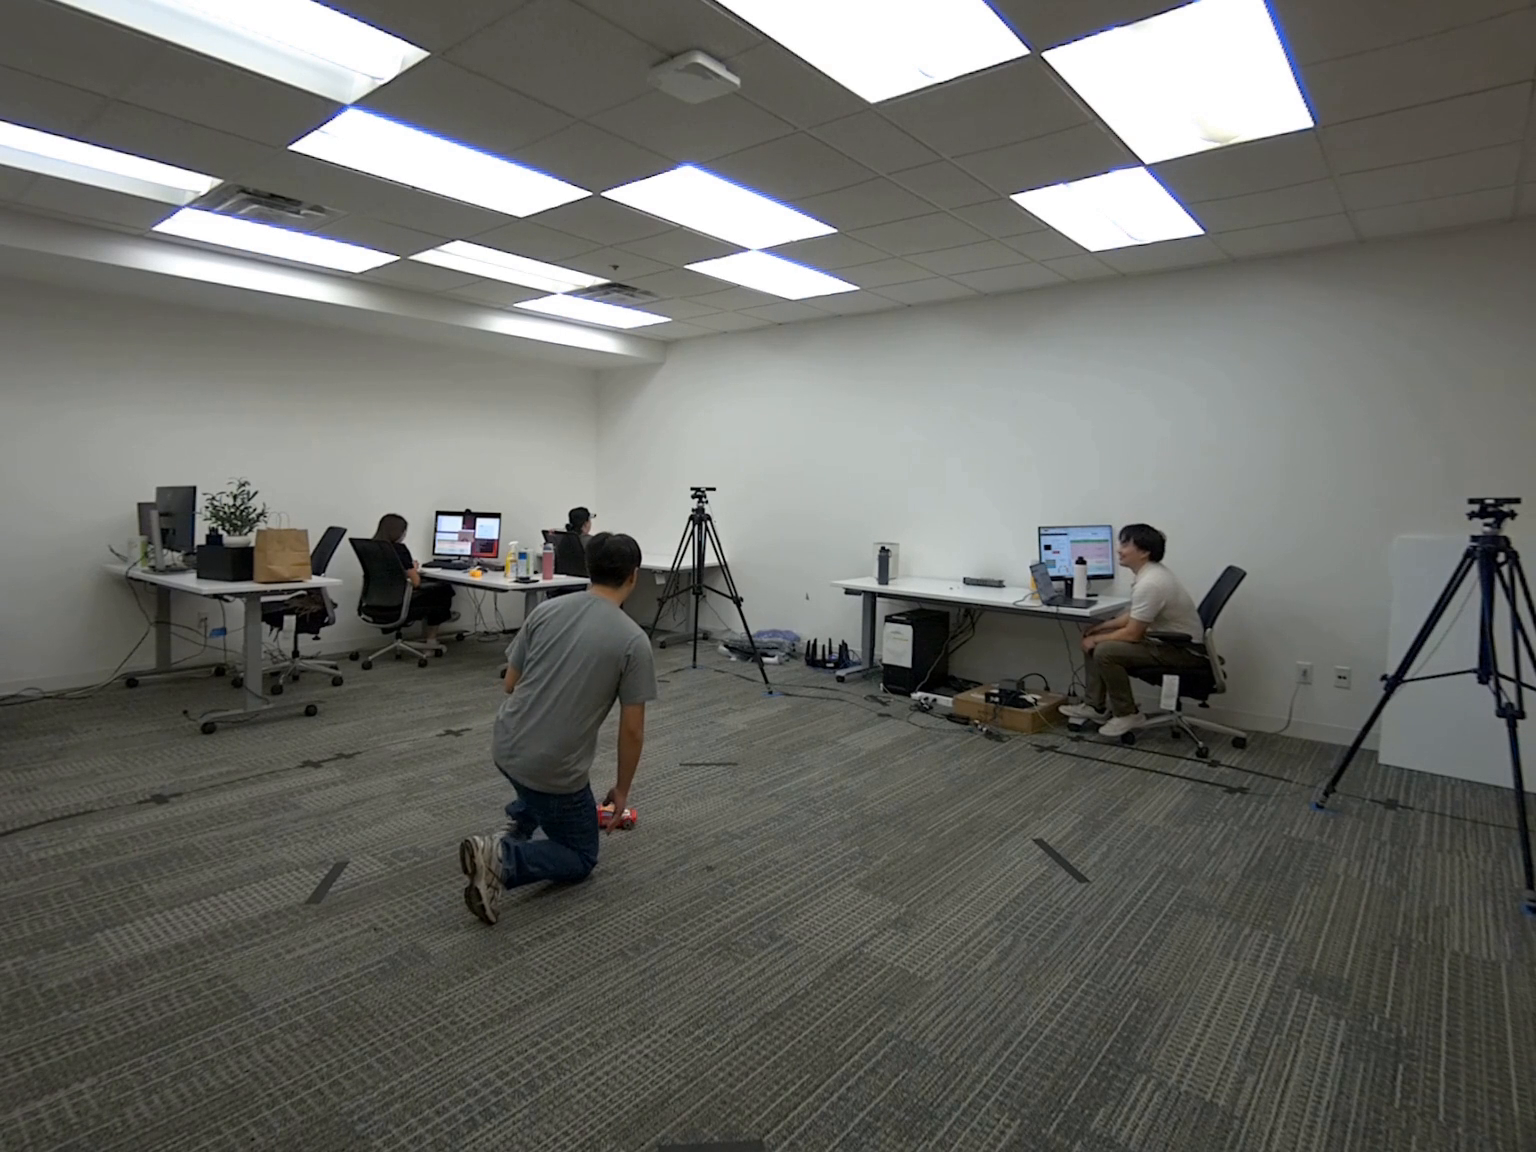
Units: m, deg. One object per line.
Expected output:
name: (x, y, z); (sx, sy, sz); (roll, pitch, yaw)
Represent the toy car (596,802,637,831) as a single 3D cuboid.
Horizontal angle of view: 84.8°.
toy car: (-0.683, 0.988, 3.497); (0.253, 0.083, 0.131); (11, 4, -5)
